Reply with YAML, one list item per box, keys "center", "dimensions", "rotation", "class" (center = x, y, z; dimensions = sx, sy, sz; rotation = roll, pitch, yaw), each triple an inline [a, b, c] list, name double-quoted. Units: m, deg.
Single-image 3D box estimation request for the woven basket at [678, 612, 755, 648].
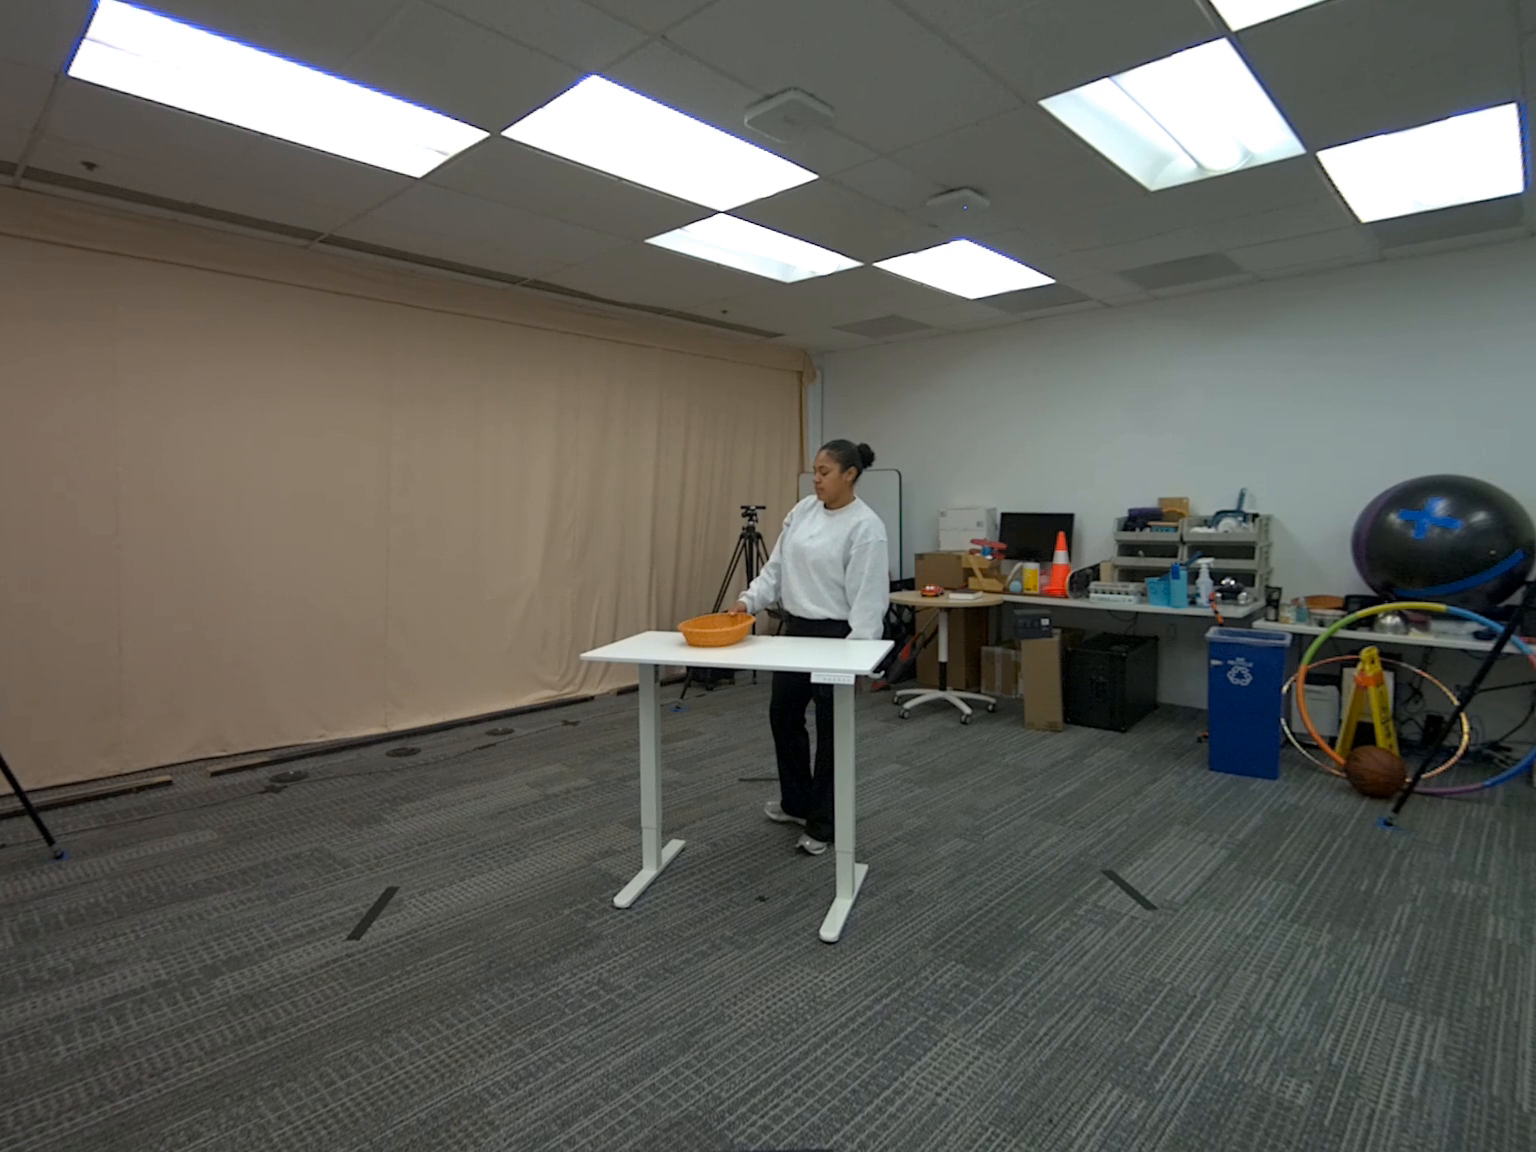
- center: [-0.204, 0.208, 3.161]
  dimensions: [0.259, 0.073, 0.342]
  rotation: [1, 7, 28]
  class: "woven basket"
